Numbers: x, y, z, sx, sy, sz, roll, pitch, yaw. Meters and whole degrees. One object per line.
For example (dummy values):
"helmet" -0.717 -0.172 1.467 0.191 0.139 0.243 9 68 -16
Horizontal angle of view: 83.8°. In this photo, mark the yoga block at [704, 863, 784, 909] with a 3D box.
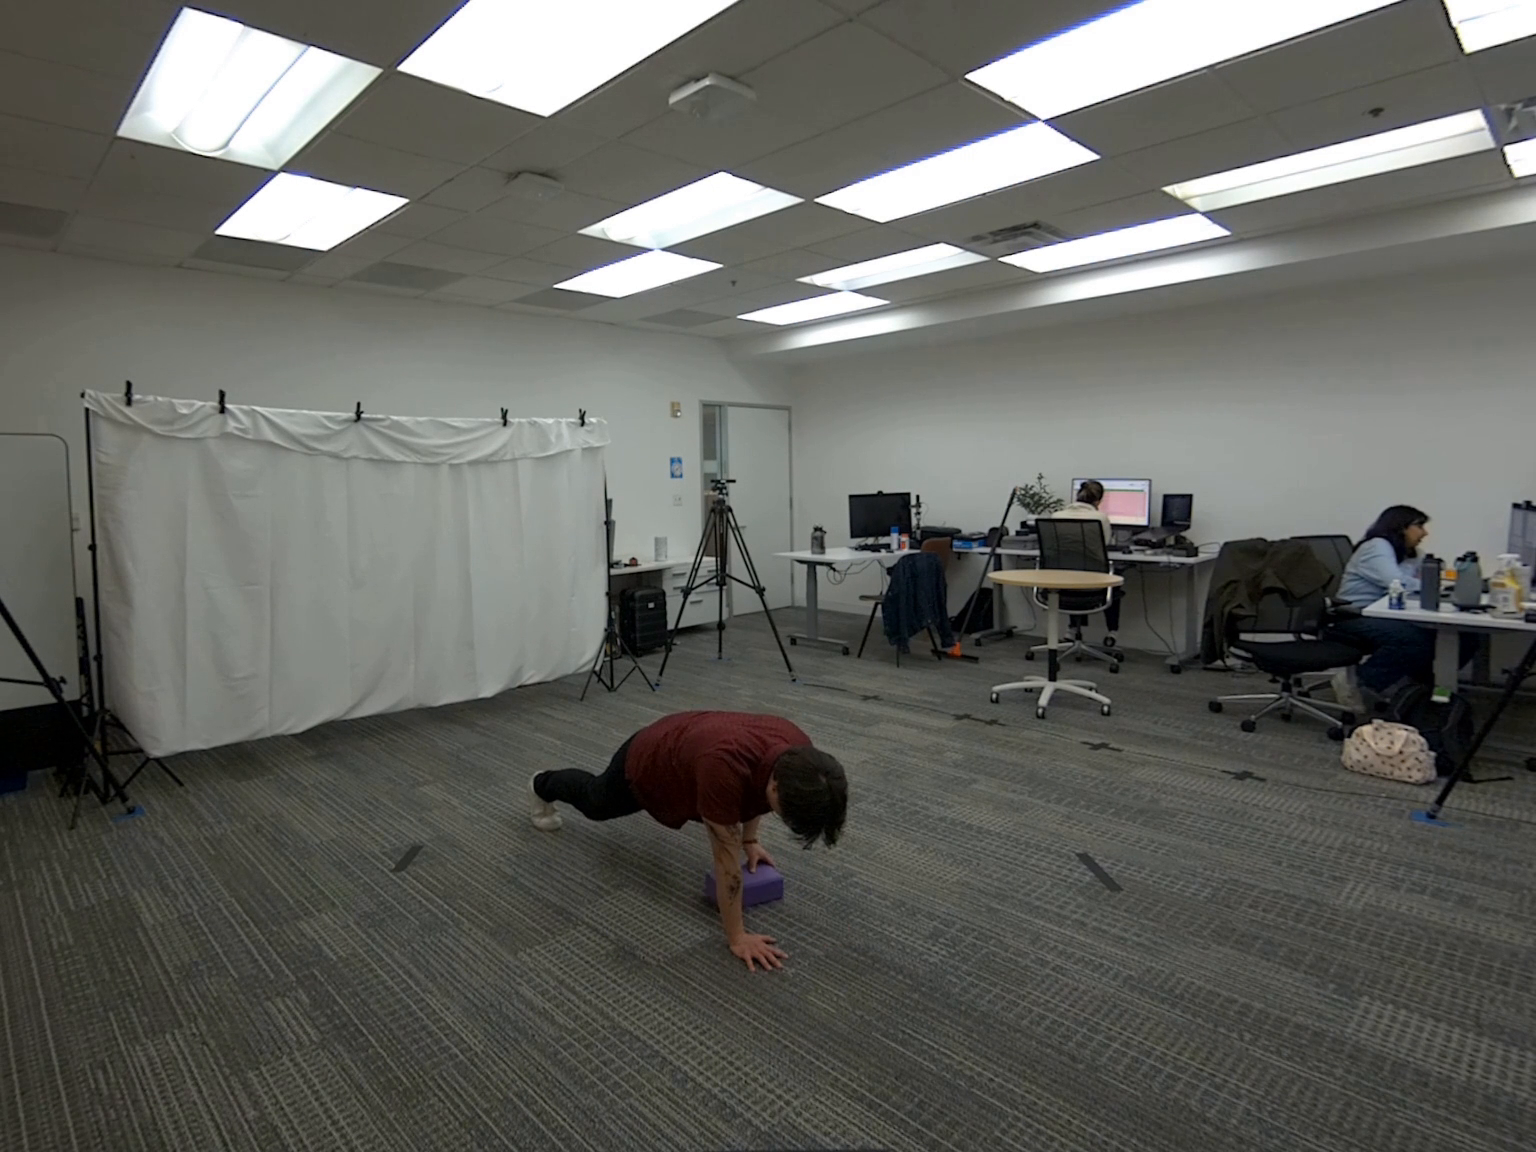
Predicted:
"yoga block" -0.078 1.034 2.865 0.224 0.076 0.152 -2 5 -24
